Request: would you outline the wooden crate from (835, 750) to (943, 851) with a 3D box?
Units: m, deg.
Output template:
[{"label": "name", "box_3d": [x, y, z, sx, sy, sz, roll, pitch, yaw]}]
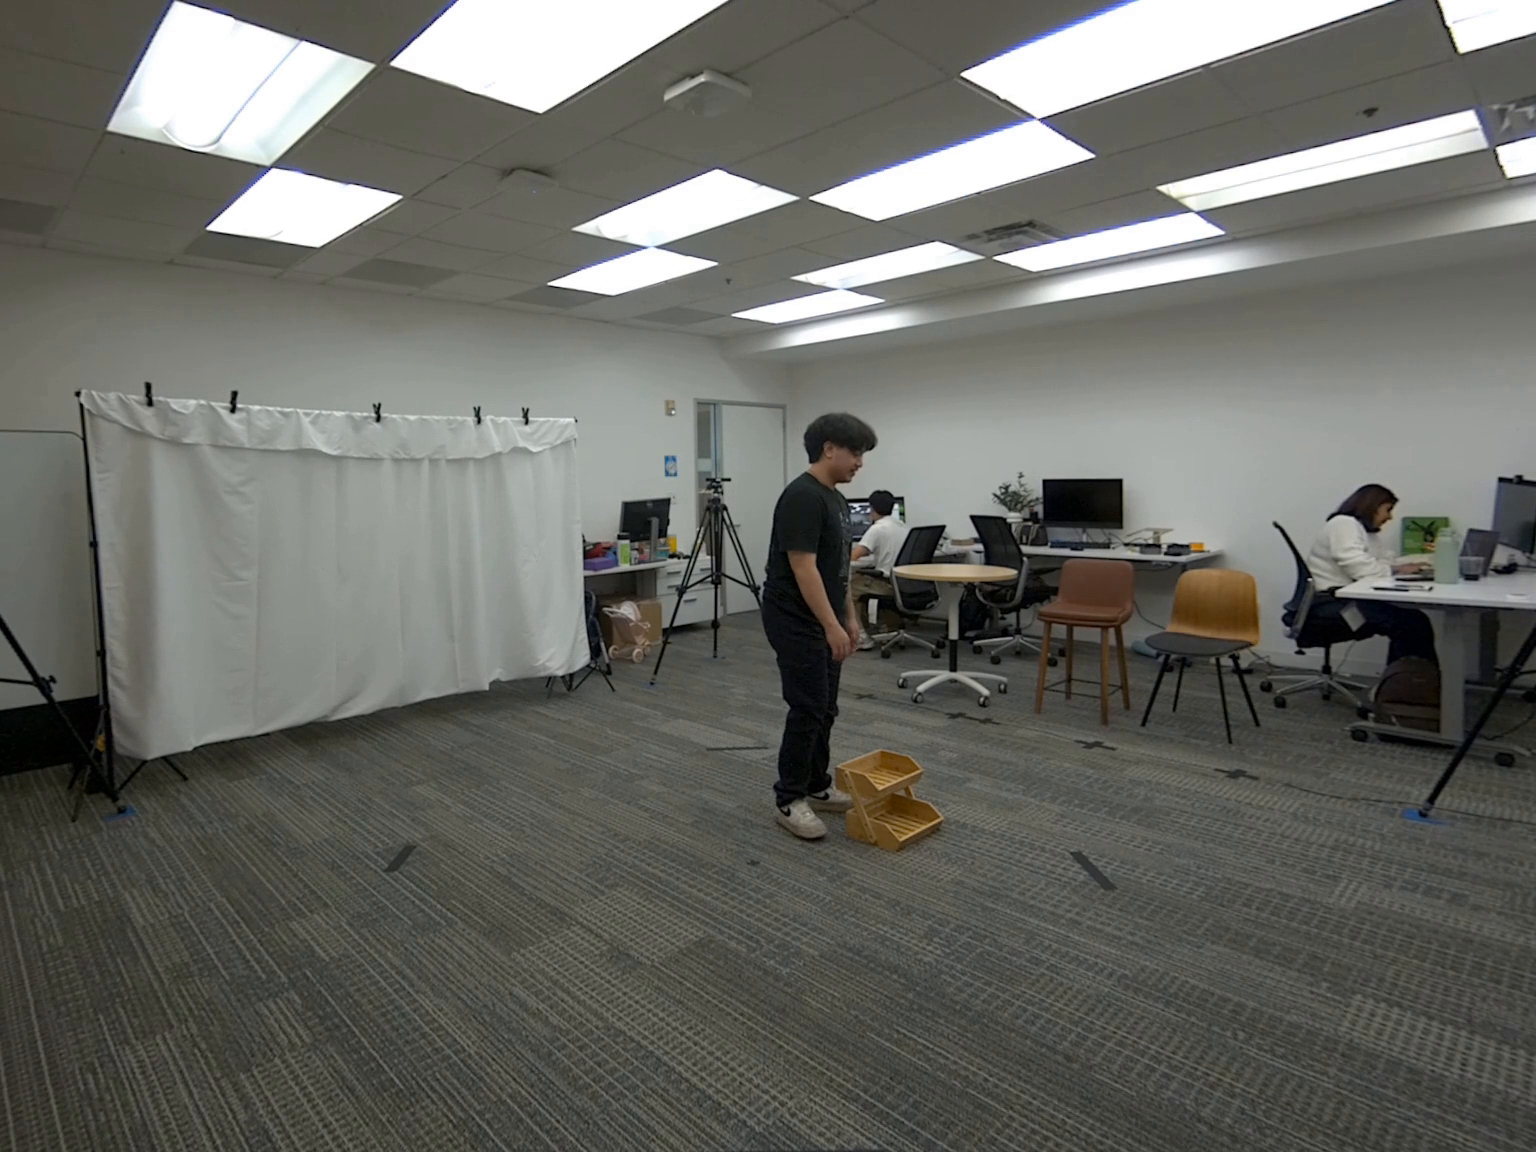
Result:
[{"label": "wooden crate", "box_3d": [0.484, 0.873, 3.362, 0.311, 0.272, 0.316, 3, 6, 45]}]
